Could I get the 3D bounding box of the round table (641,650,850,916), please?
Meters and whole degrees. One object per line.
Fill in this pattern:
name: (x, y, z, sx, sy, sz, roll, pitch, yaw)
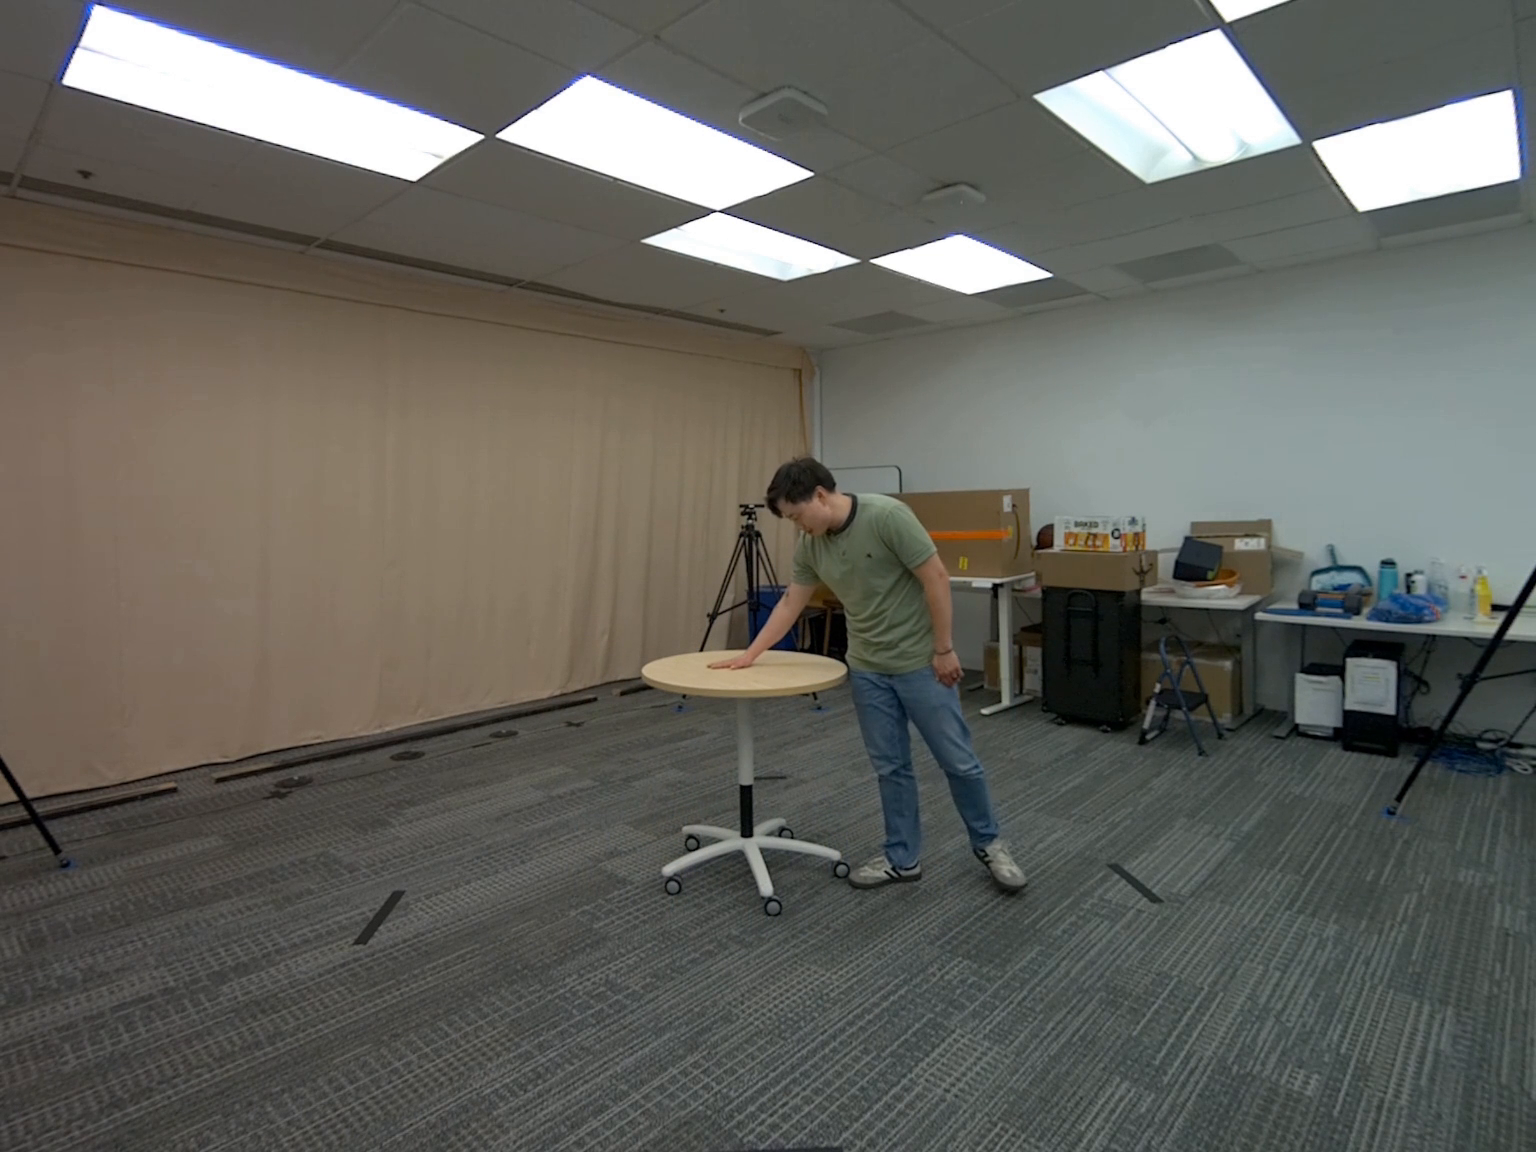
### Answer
round table: (-0.081, 0.738, 3.173, 0.763, 0.792, 0.766, -1, 4, -2)
